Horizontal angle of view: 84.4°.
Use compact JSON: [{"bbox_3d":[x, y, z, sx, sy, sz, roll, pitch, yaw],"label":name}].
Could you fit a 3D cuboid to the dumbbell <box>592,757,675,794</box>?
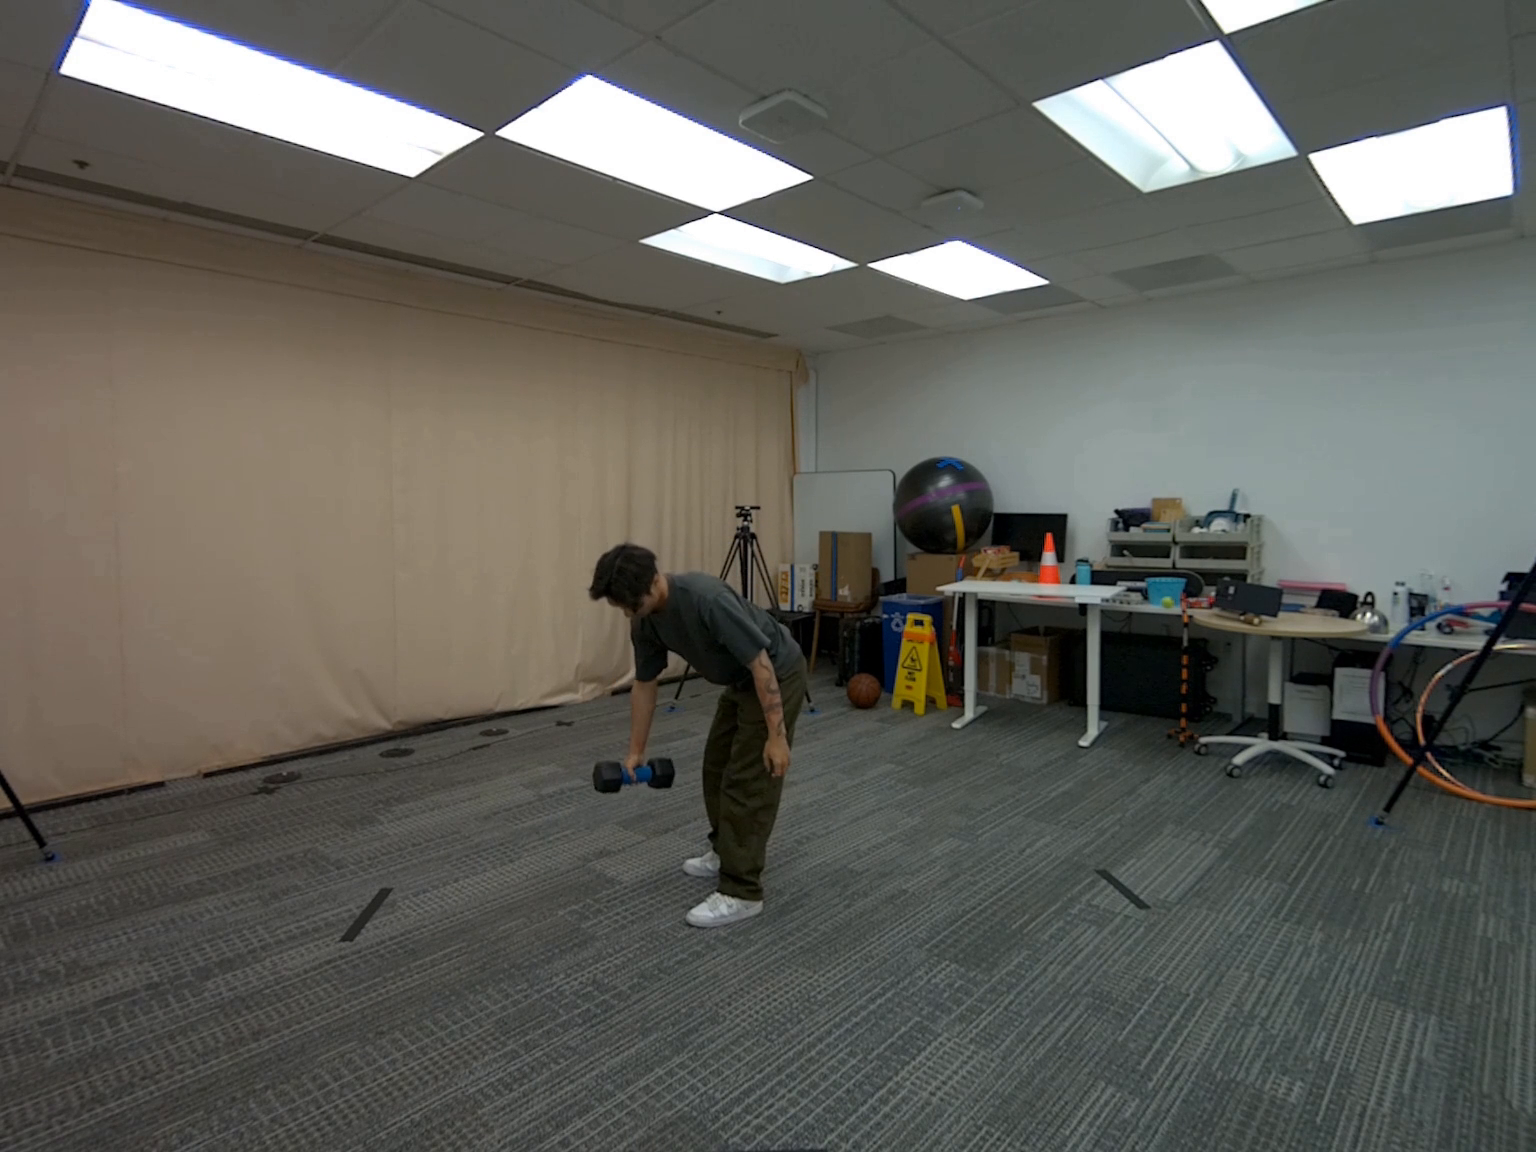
[{"bbox_3d":[-0.495,0.735,3.087,0.285,0.126,0.109,4,-40,-28],"label":"dumbbell"}]
